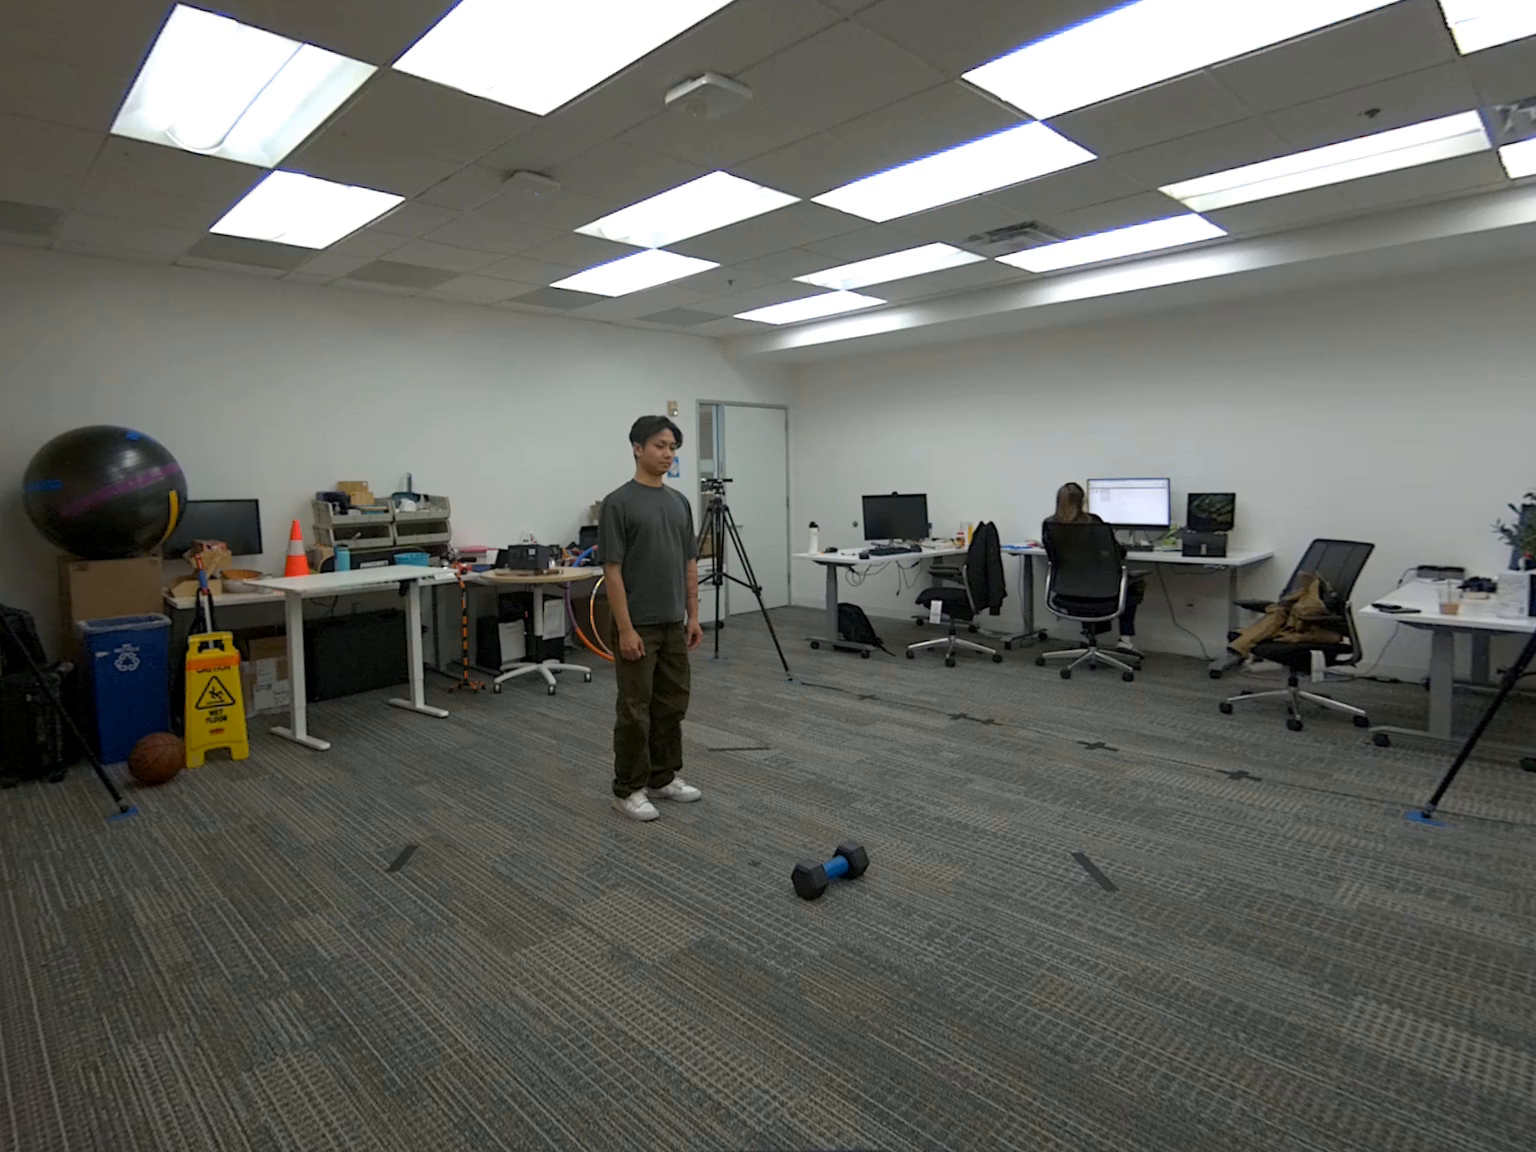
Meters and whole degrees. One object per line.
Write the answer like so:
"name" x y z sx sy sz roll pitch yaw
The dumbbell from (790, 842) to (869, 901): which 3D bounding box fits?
"dumbbell" 0.221 1.005 2.929 0.286 0.121 0.113 -7 38 -43
